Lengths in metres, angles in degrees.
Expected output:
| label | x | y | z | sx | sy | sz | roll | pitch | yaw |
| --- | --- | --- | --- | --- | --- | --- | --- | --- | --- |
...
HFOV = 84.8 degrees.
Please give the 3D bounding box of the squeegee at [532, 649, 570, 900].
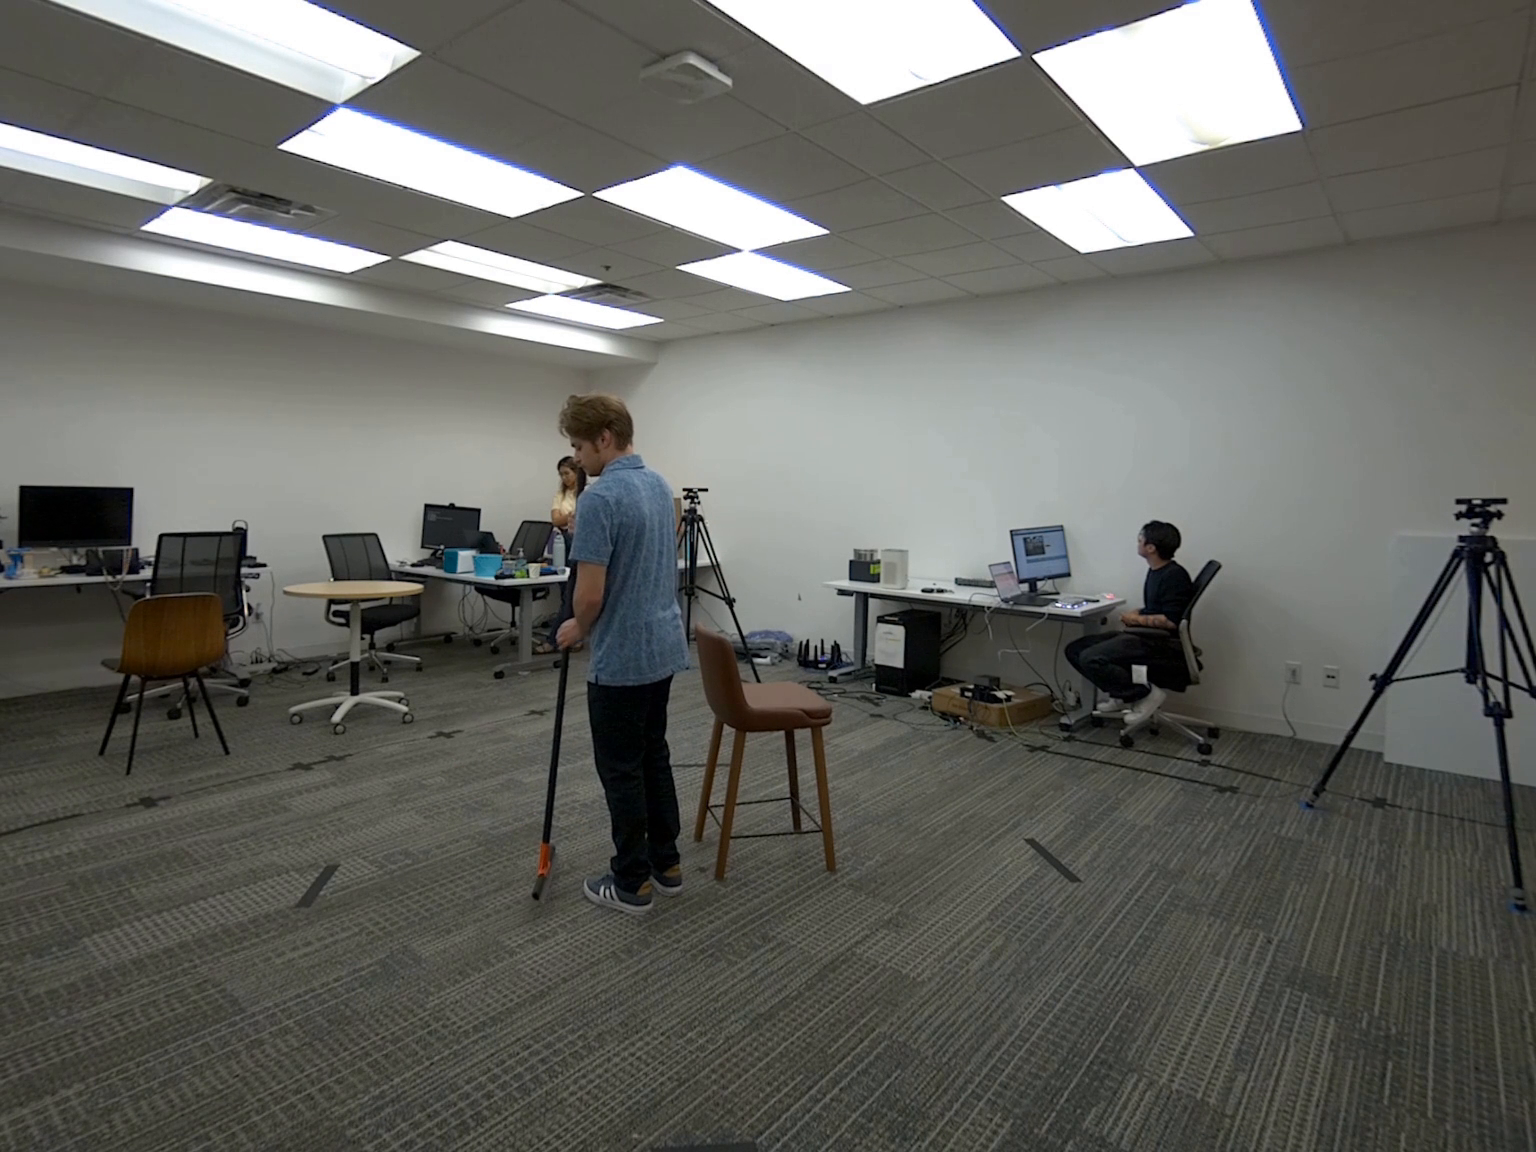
| label | x | y | z | sx | sy | sz | roll | pitch | yaw |
| --- | --- | --- | --- | --- | --- | --- | --- | --- | --- |
| squeegee | -0.735 | 0.284 | 2.917 | 0.053 | 1.539 | 0.439 | 2 | -1 | -6 |
